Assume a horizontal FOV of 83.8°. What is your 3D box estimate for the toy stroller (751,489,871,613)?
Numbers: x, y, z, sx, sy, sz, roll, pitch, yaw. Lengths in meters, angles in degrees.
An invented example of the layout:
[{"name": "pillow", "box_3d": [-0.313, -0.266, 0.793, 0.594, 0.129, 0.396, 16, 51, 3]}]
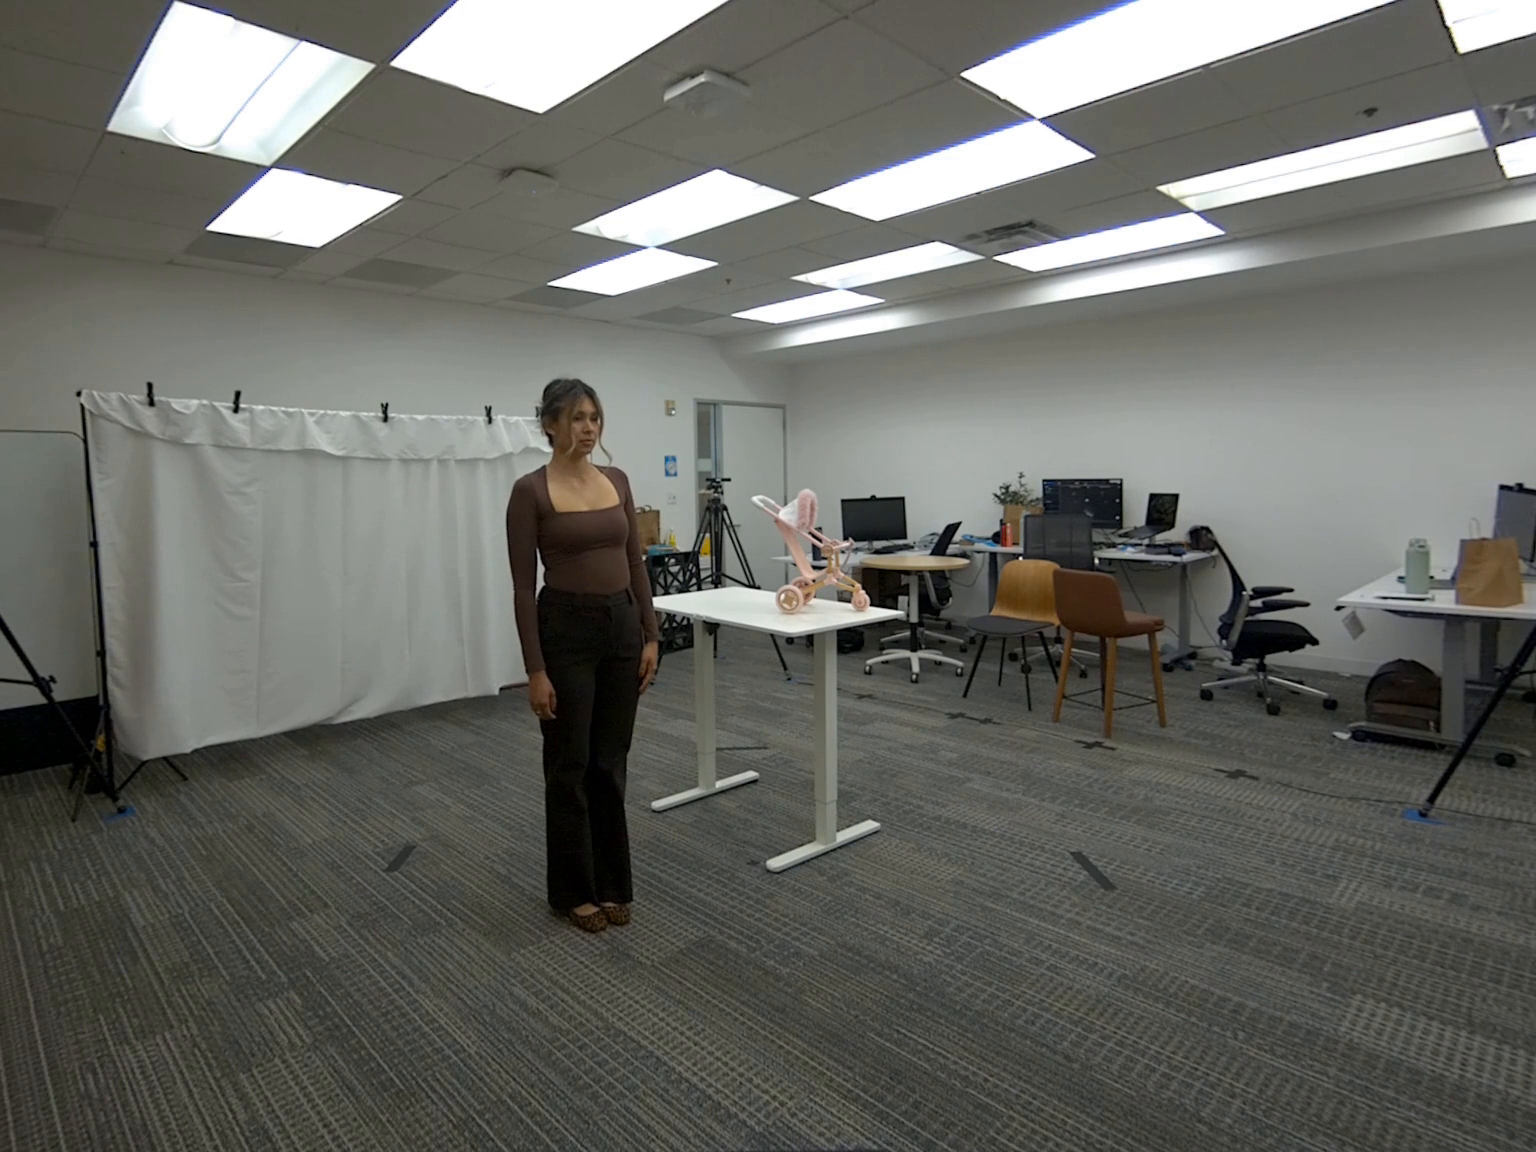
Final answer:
[{"name": "toy stroller", "box_3d": [0.177, -0.092, 3.313, 0.346, 0.535, 0.277, -15, 0, 21]}]
